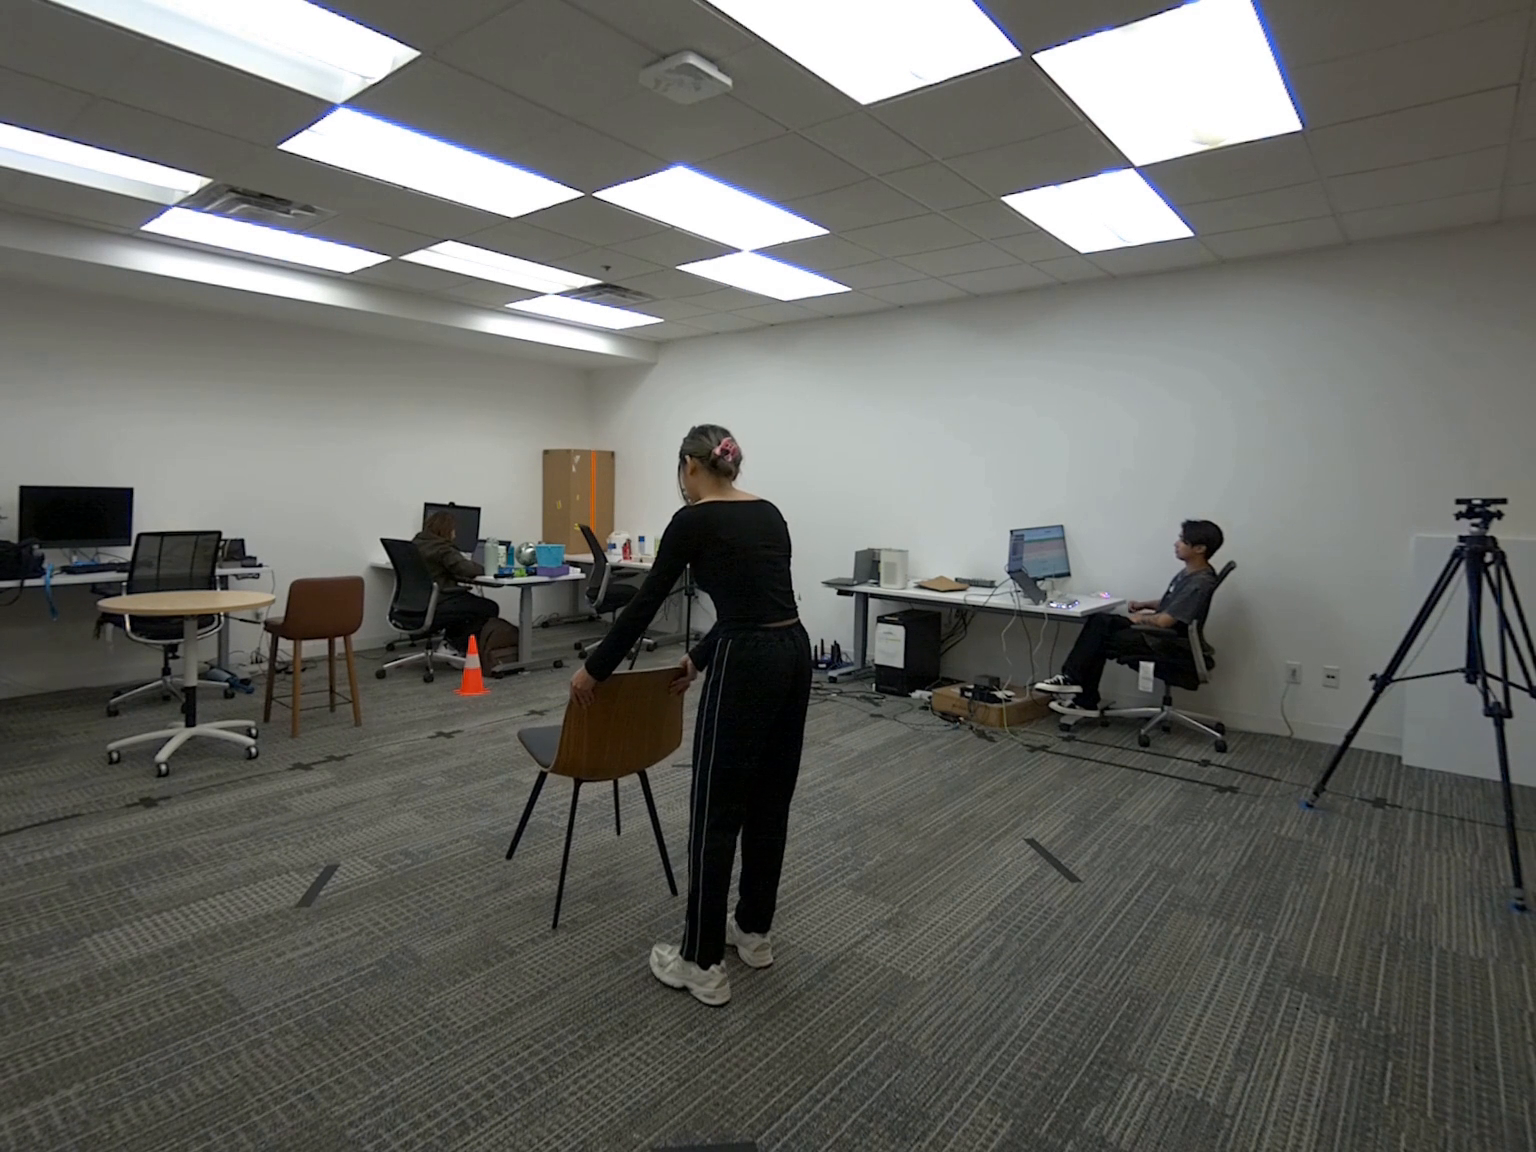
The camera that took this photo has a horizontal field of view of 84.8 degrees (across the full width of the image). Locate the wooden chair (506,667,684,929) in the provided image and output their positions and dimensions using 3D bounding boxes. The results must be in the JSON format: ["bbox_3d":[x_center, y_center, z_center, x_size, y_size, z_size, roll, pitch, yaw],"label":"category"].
[{"bbox_3d":[-0.594,0.632,2.904,0.464,0.868,0.544,-1,16,-35],"label":"wooden chair"}]
